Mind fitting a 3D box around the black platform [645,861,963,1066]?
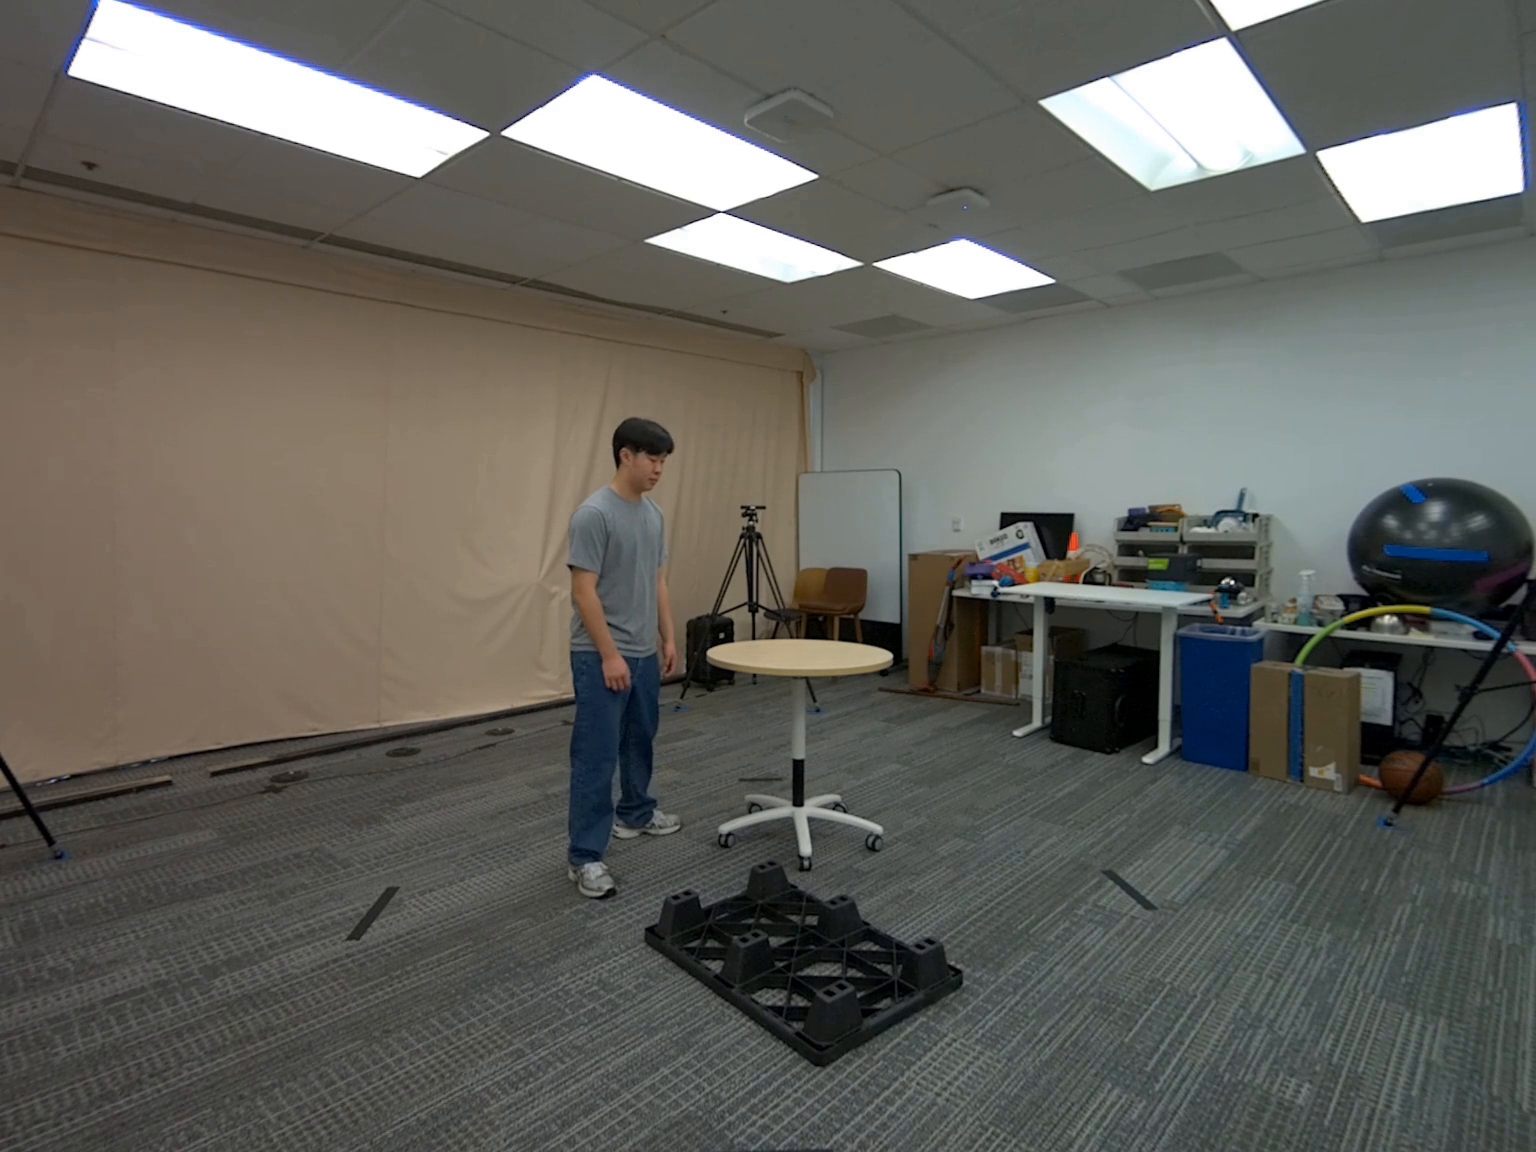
[{"bbox_3d":[0.095,1.114,2.567,0.587,0.143,0.832,-5,7,-40],"label":"black platform"}]
